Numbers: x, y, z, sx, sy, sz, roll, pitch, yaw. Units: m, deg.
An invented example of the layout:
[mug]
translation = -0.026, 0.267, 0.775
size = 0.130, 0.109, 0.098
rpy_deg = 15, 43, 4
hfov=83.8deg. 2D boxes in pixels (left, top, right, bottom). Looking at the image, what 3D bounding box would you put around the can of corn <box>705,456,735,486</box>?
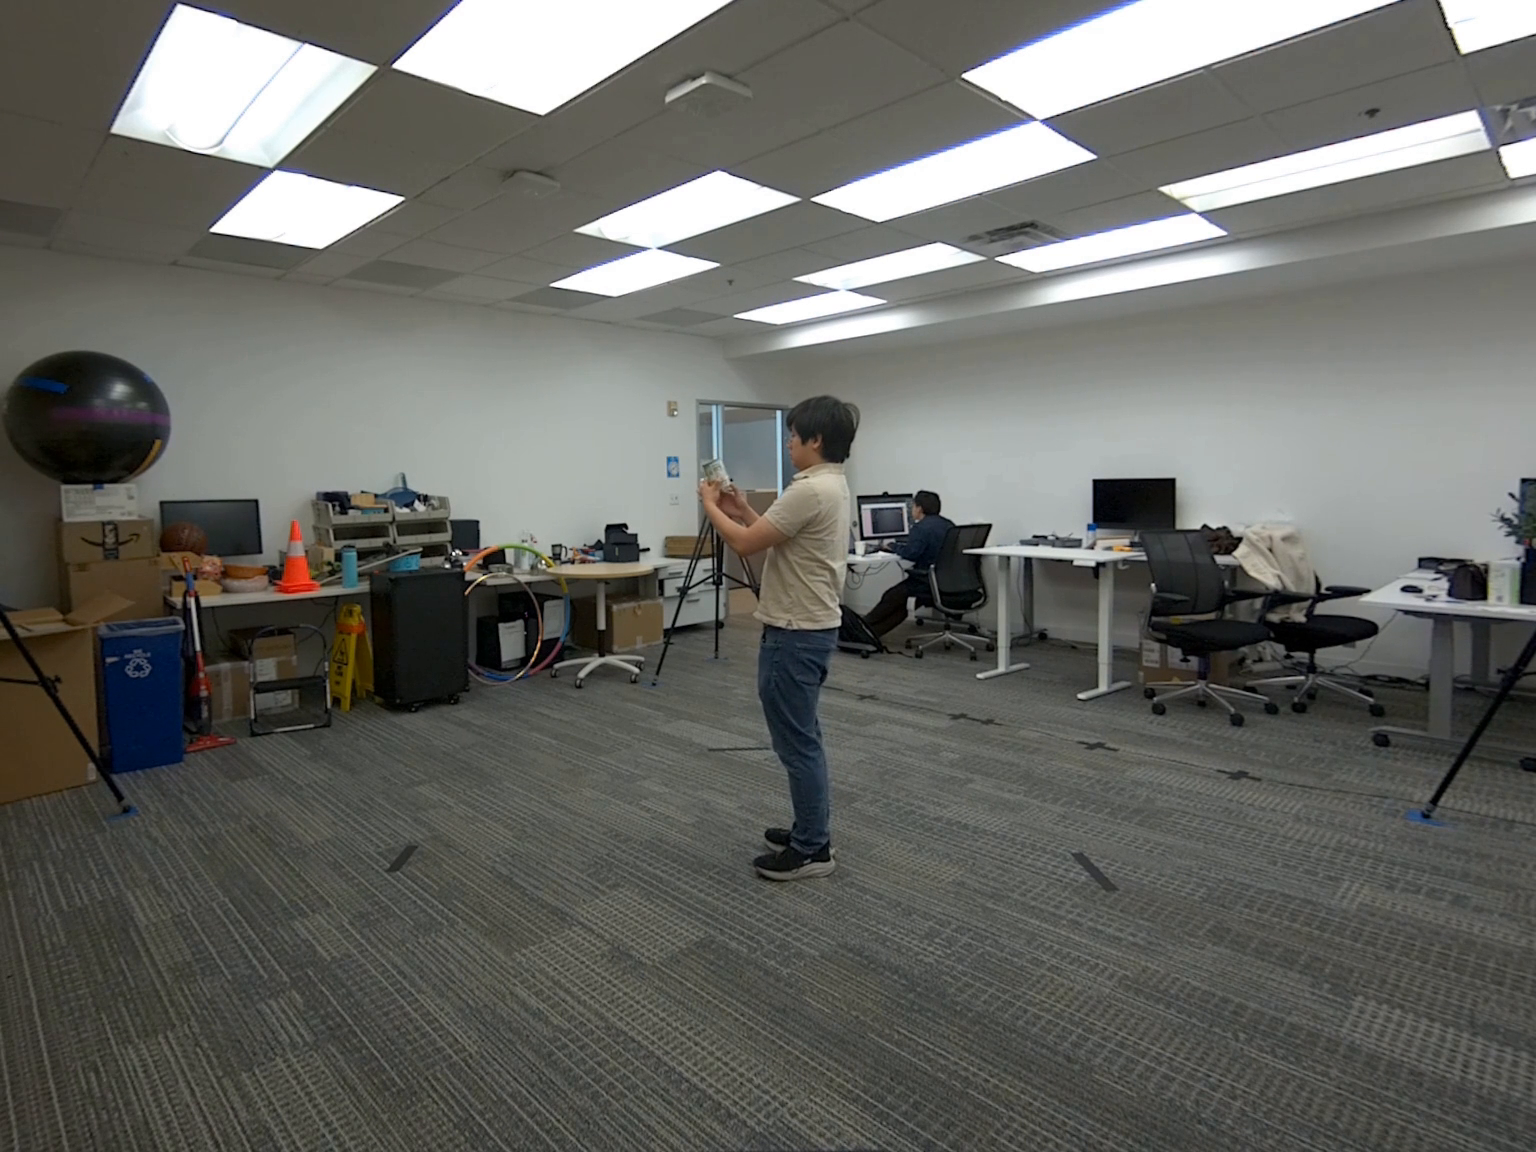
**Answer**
[can of corn]
translation = -0.178, -0.372, 3.135
size = 0.074, 0.110, 0.075
rpy_deg = -19, 7, 1
